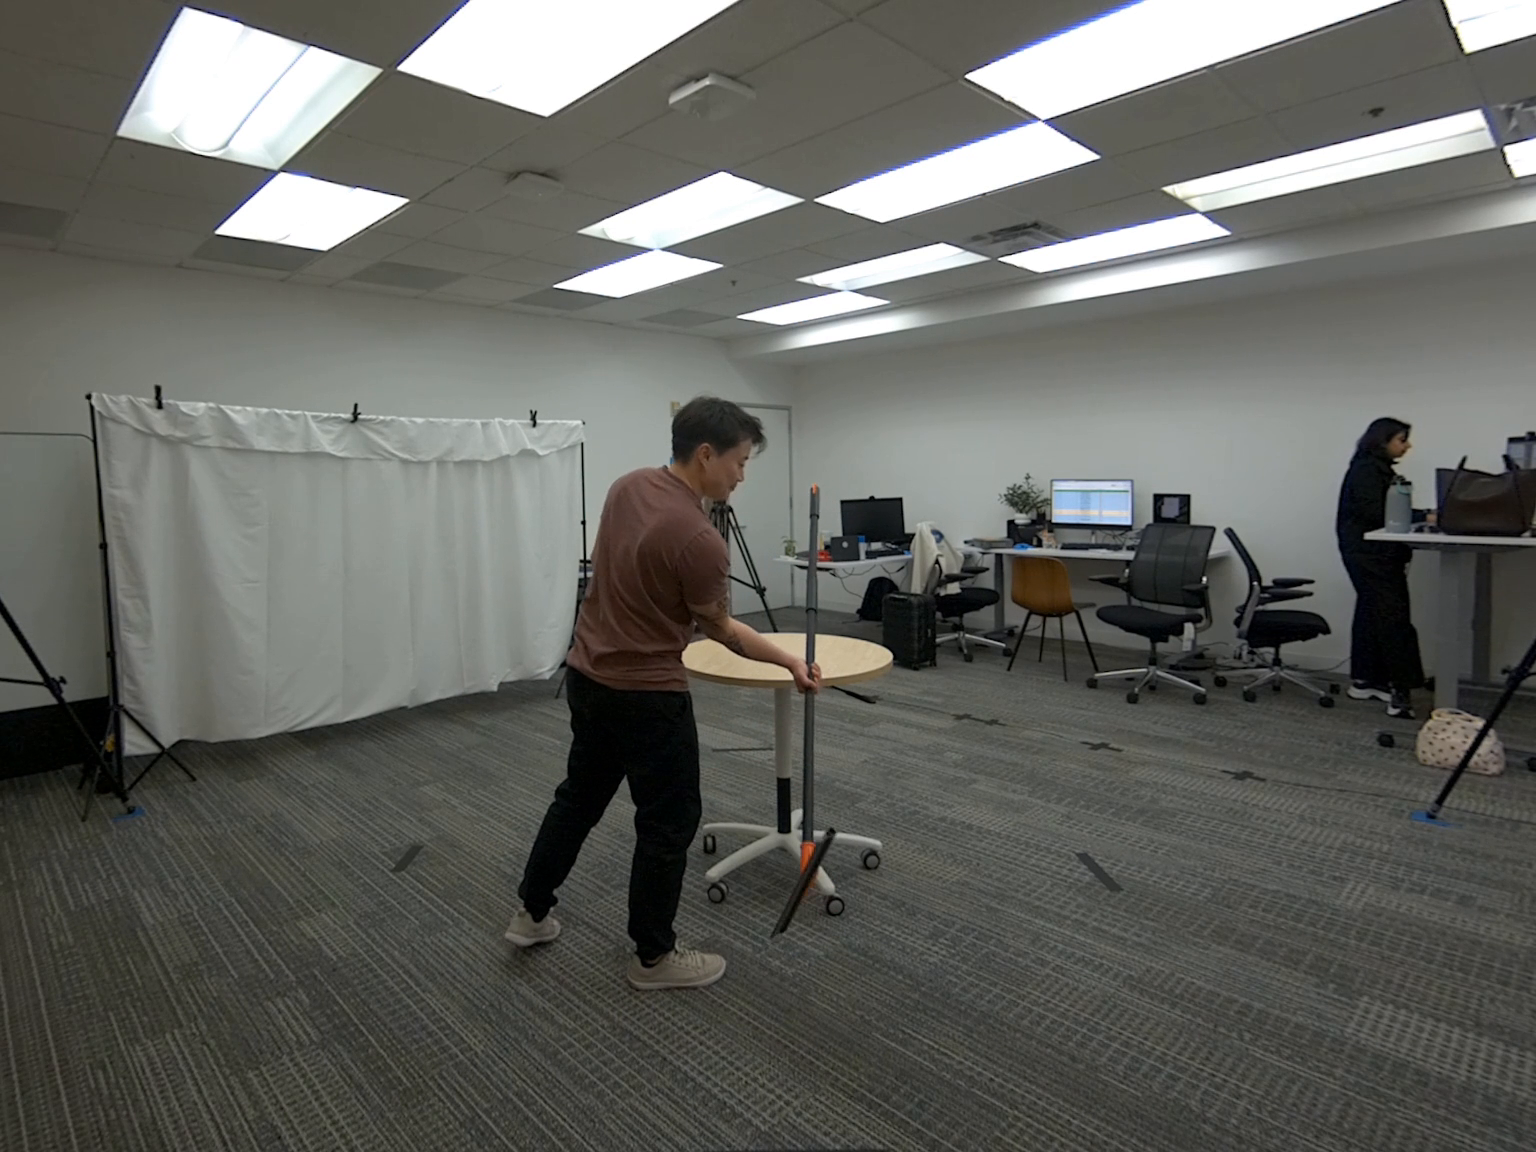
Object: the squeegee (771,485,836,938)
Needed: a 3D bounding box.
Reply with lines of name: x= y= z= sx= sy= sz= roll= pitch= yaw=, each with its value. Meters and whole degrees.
squeegee: x=0.126 y=0.213 z=2.447 sx=0.053 sy=0.429 sz=1.572 roll=11 pitch=43 yaw=-4
